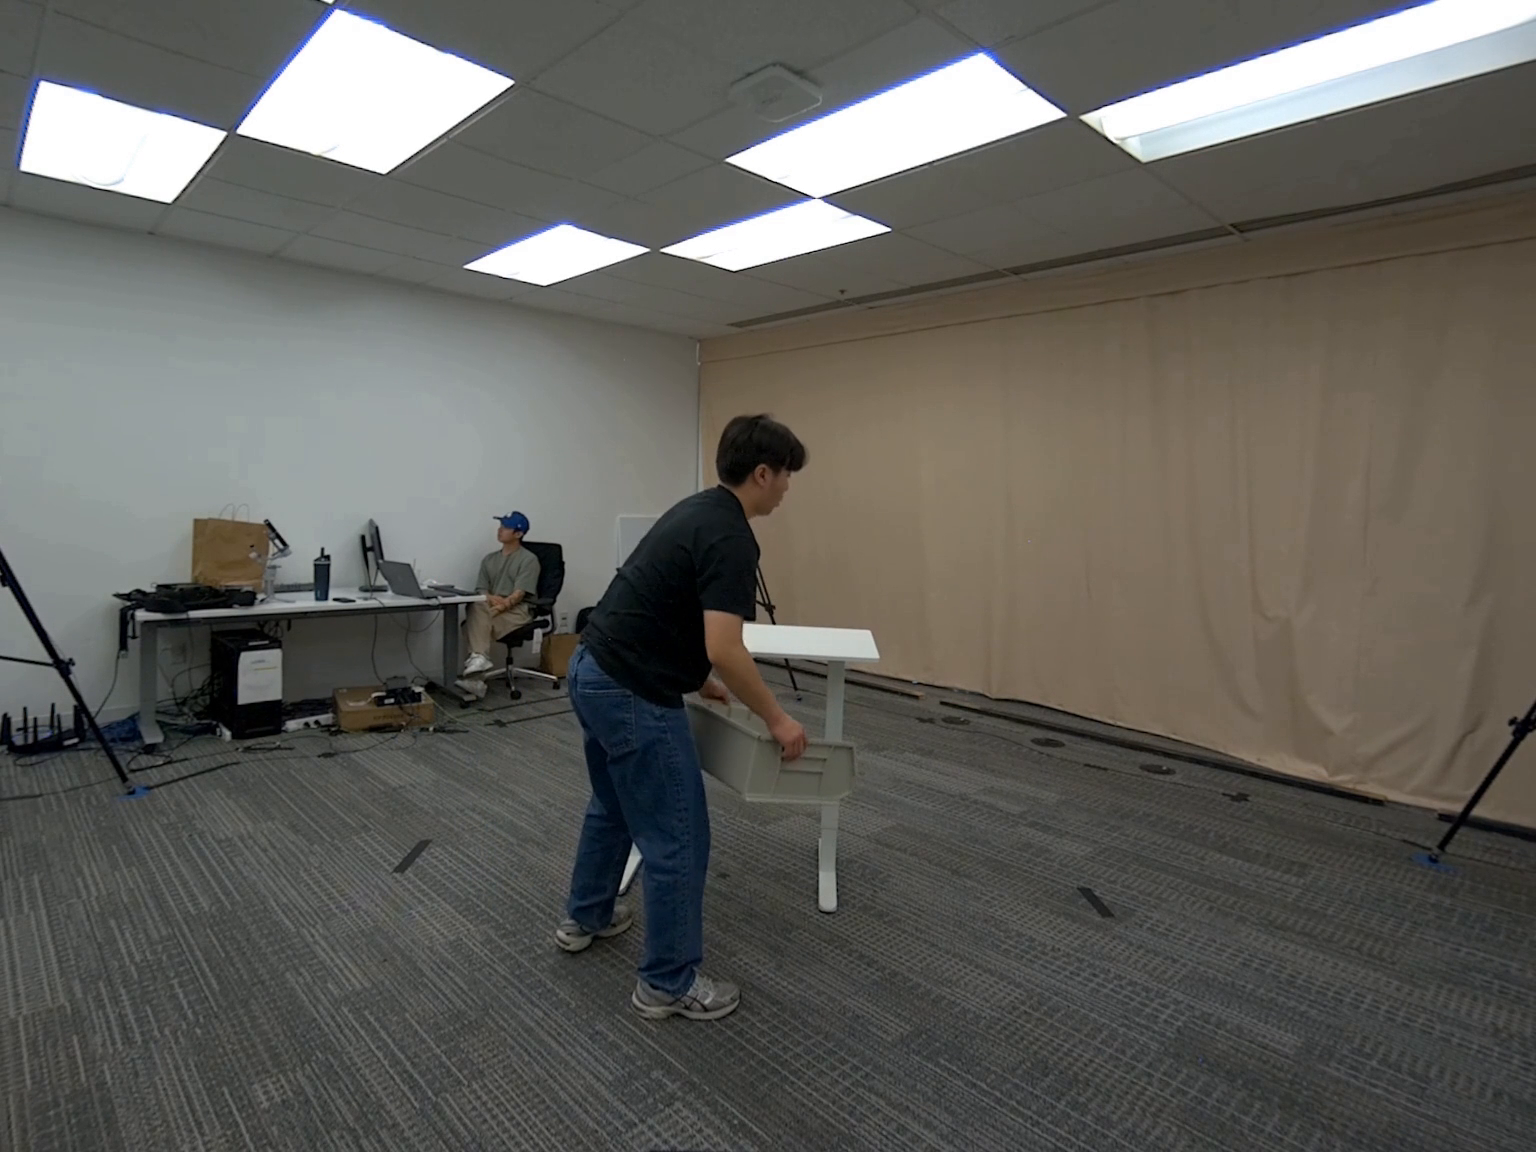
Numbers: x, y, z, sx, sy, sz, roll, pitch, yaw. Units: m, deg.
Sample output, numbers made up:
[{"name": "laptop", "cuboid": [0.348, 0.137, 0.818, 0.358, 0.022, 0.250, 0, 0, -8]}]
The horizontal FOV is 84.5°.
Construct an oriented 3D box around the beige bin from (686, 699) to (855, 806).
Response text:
[{"name": "beige bin", "cuboid": [-0.009, 0.511, 2.458, 0.368, 0.189, 0.433, 11, 0, -34]}]
